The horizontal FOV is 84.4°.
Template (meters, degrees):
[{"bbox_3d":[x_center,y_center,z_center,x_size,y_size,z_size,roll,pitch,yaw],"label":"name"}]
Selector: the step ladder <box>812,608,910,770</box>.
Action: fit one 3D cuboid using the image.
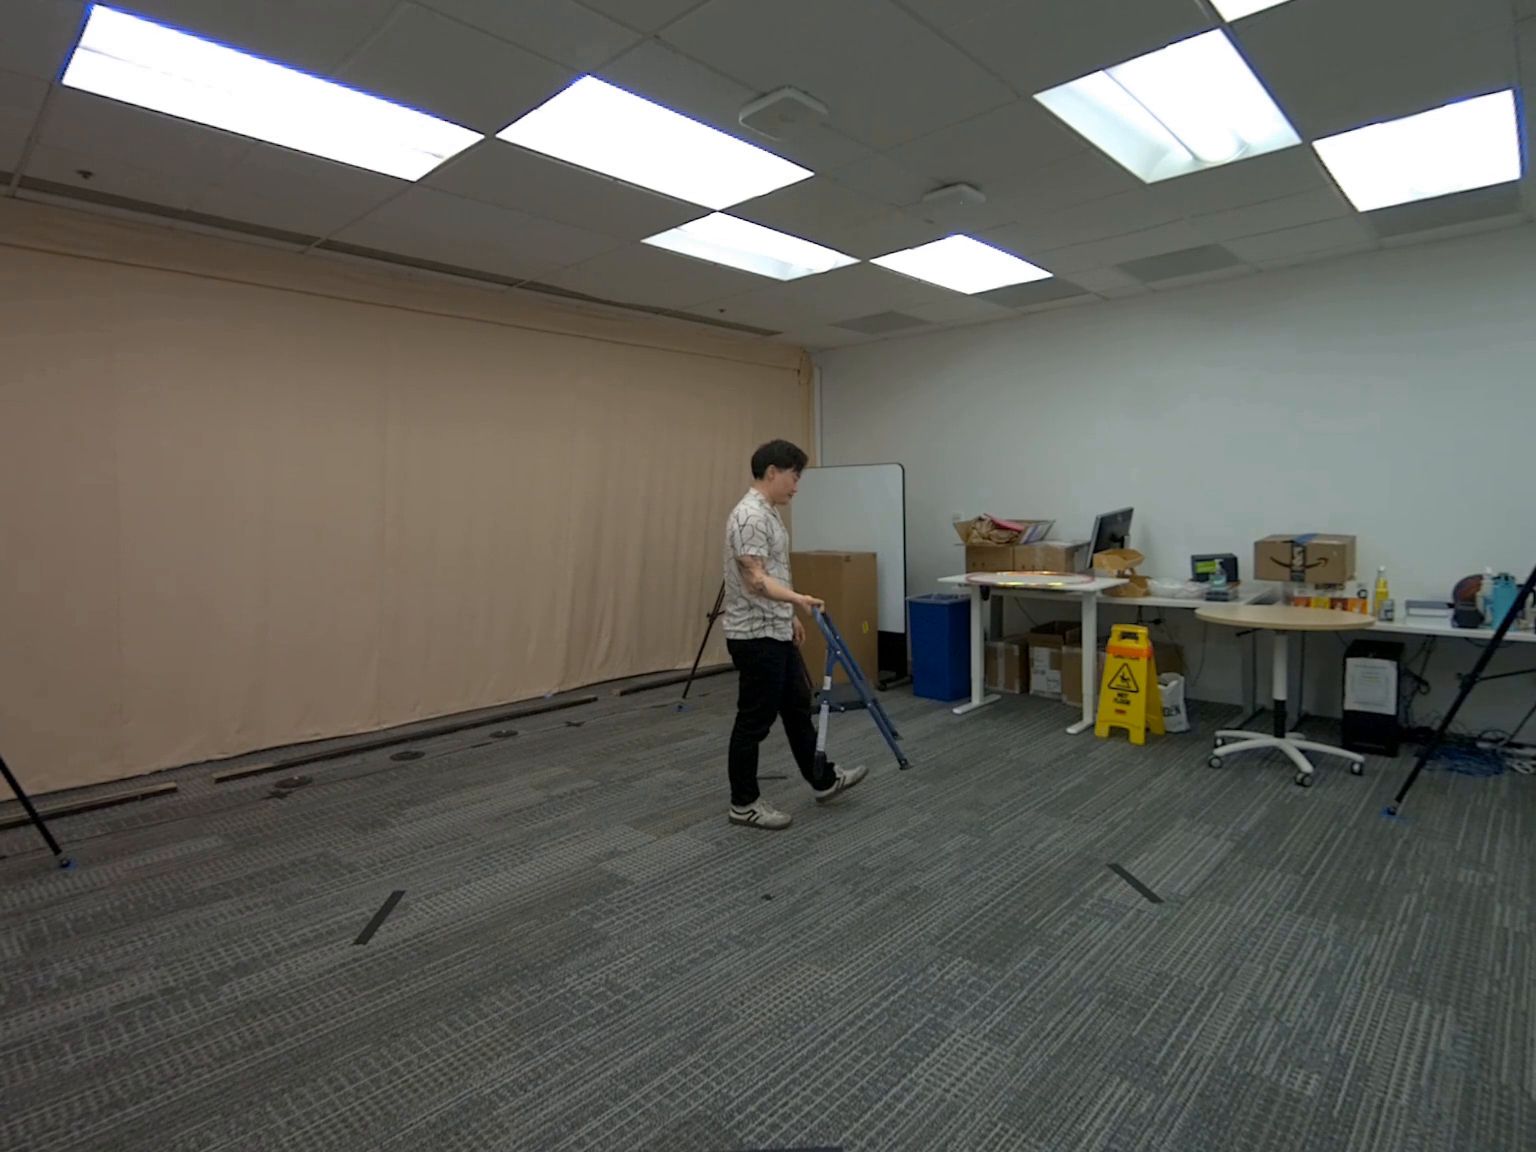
[{"bbox_3d":[0.292,0.406,3.199,0.351,0.606,0.428,-9,0,5],"label":"step ladder"}]
